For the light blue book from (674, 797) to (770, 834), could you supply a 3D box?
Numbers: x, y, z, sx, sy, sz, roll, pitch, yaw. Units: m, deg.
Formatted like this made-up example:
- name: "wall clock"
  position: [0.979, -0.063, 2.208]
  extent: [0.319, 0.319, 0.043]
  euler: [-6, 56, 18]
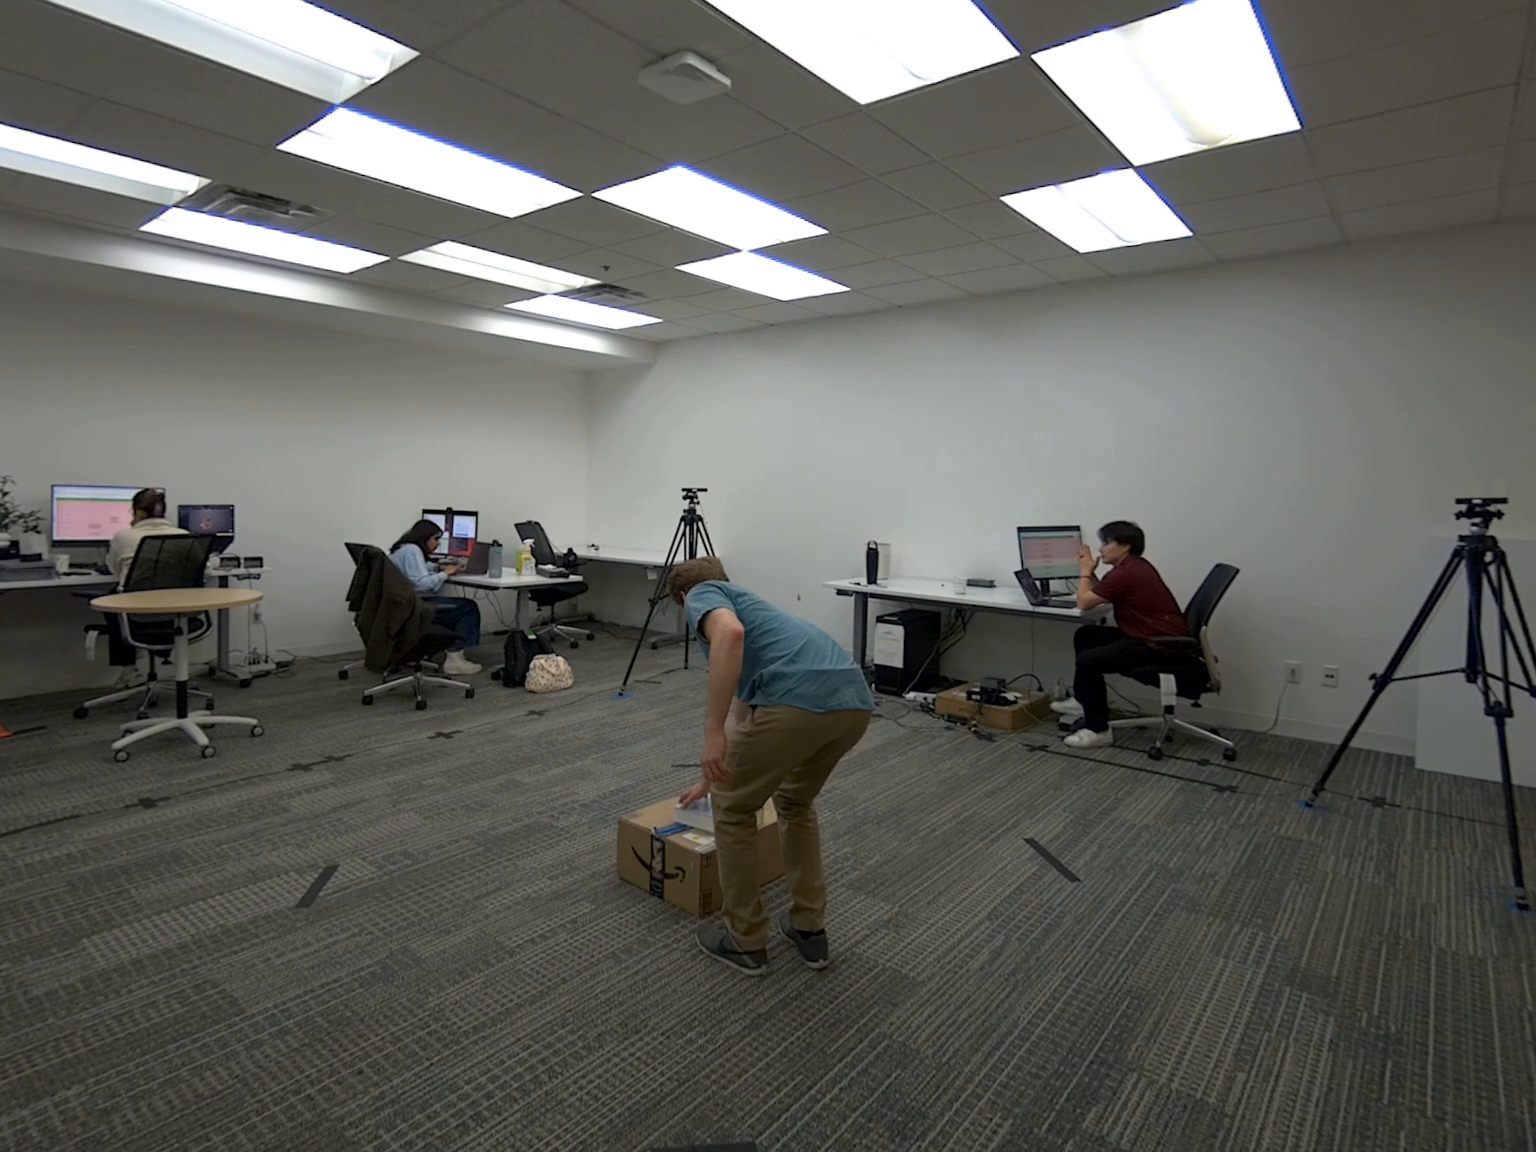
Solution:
- name: "light blue book"
  position: [-0.185, 0.838, 3.007]
  extent: [0.269, 0.059, 0.186]
  euler: [3, 2, 32]
